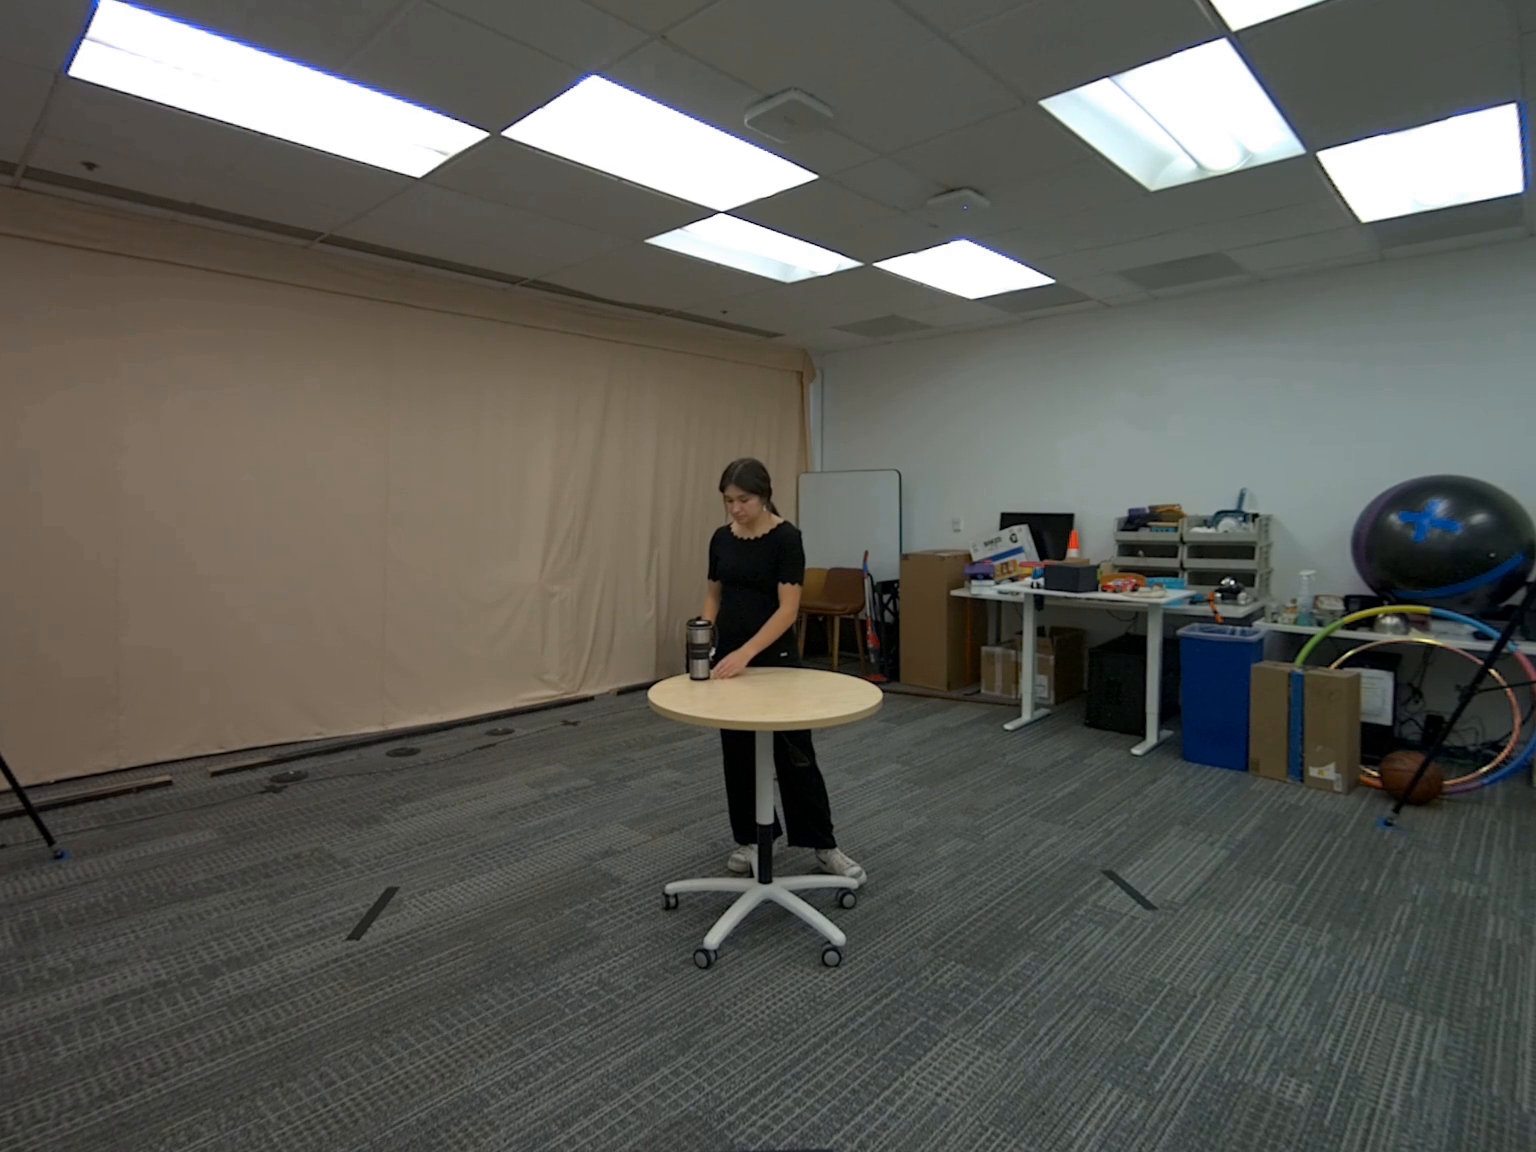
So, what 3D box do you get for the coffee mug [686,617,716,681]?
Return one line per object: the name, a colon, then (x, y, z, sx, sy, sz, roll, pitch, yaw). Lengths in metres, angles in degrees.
coffee mug: (-0.222, 0.263, 2.965, 0.119, 0.203, 0.090, -4, 2, -25)
